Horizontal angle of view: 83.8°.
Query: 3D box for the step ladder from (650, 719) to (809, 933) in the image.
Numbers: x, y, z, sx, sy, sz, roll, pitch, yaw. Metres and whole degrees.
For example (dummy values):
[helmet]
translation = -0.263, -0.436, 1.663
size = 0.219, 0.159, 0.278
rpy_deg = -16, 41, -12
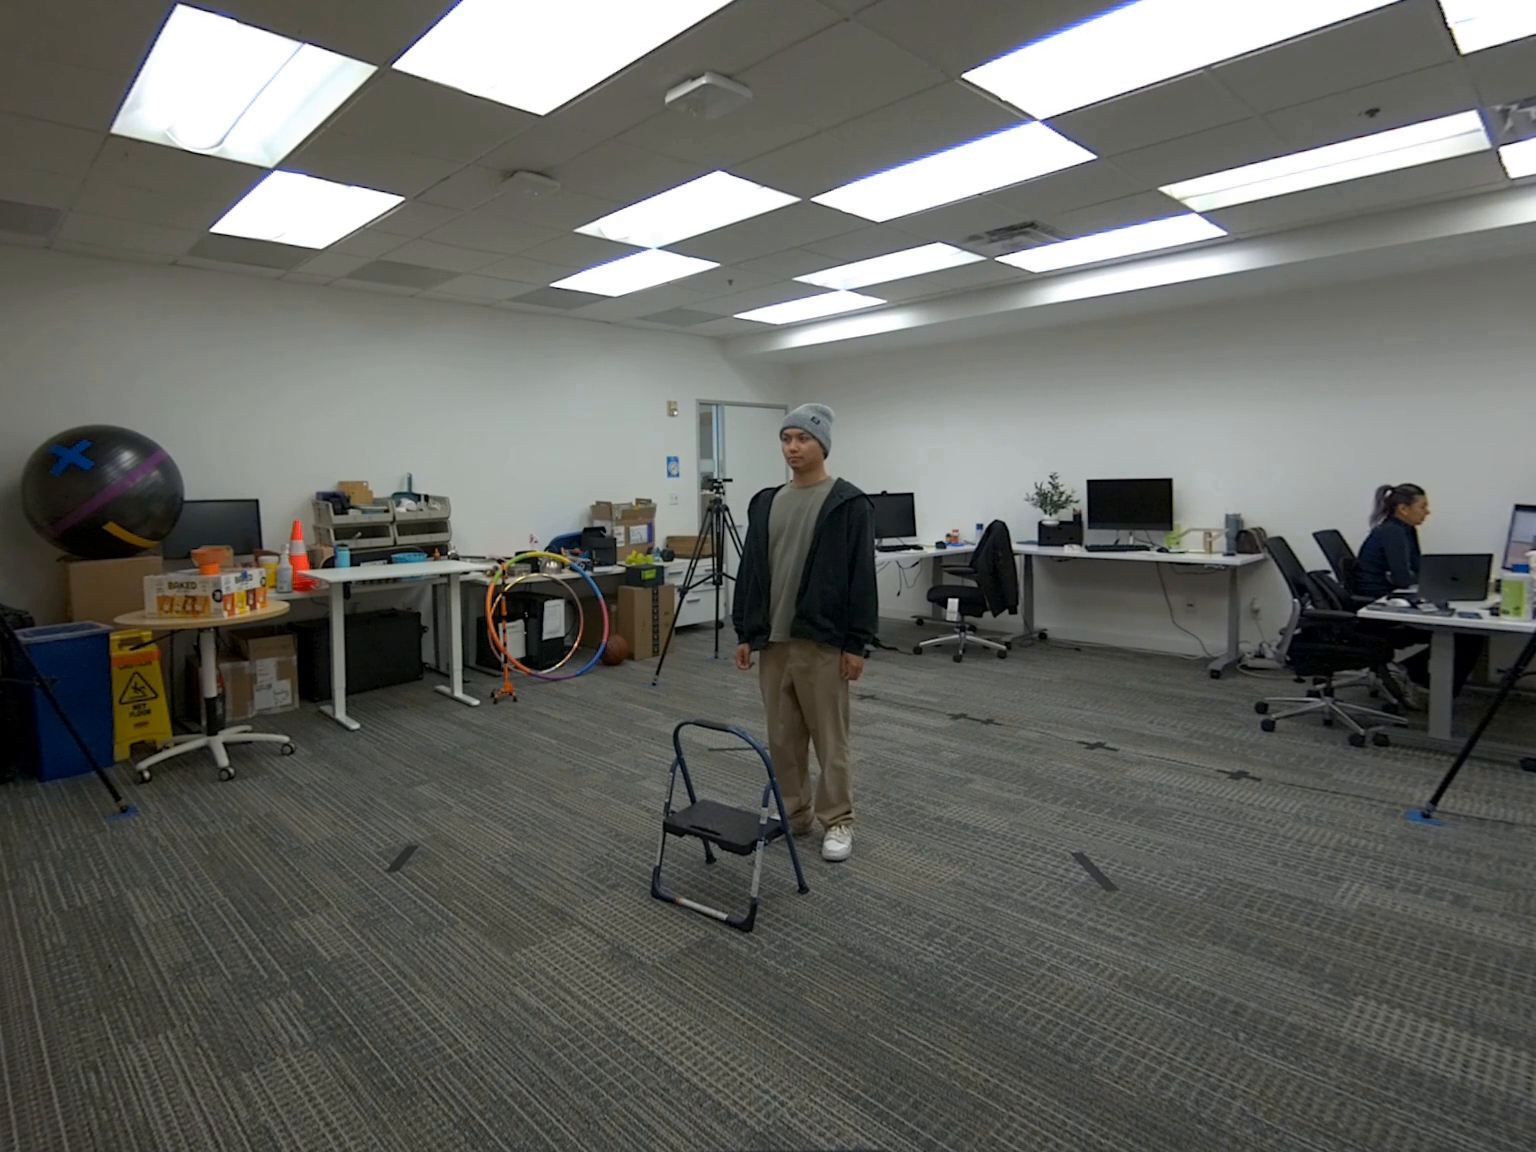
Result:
[step ladder]
translation = -0.136, 0.770, 2.867
size = 0.443, 0.604, 0.341
rpy_deg = 2, 5, 35
